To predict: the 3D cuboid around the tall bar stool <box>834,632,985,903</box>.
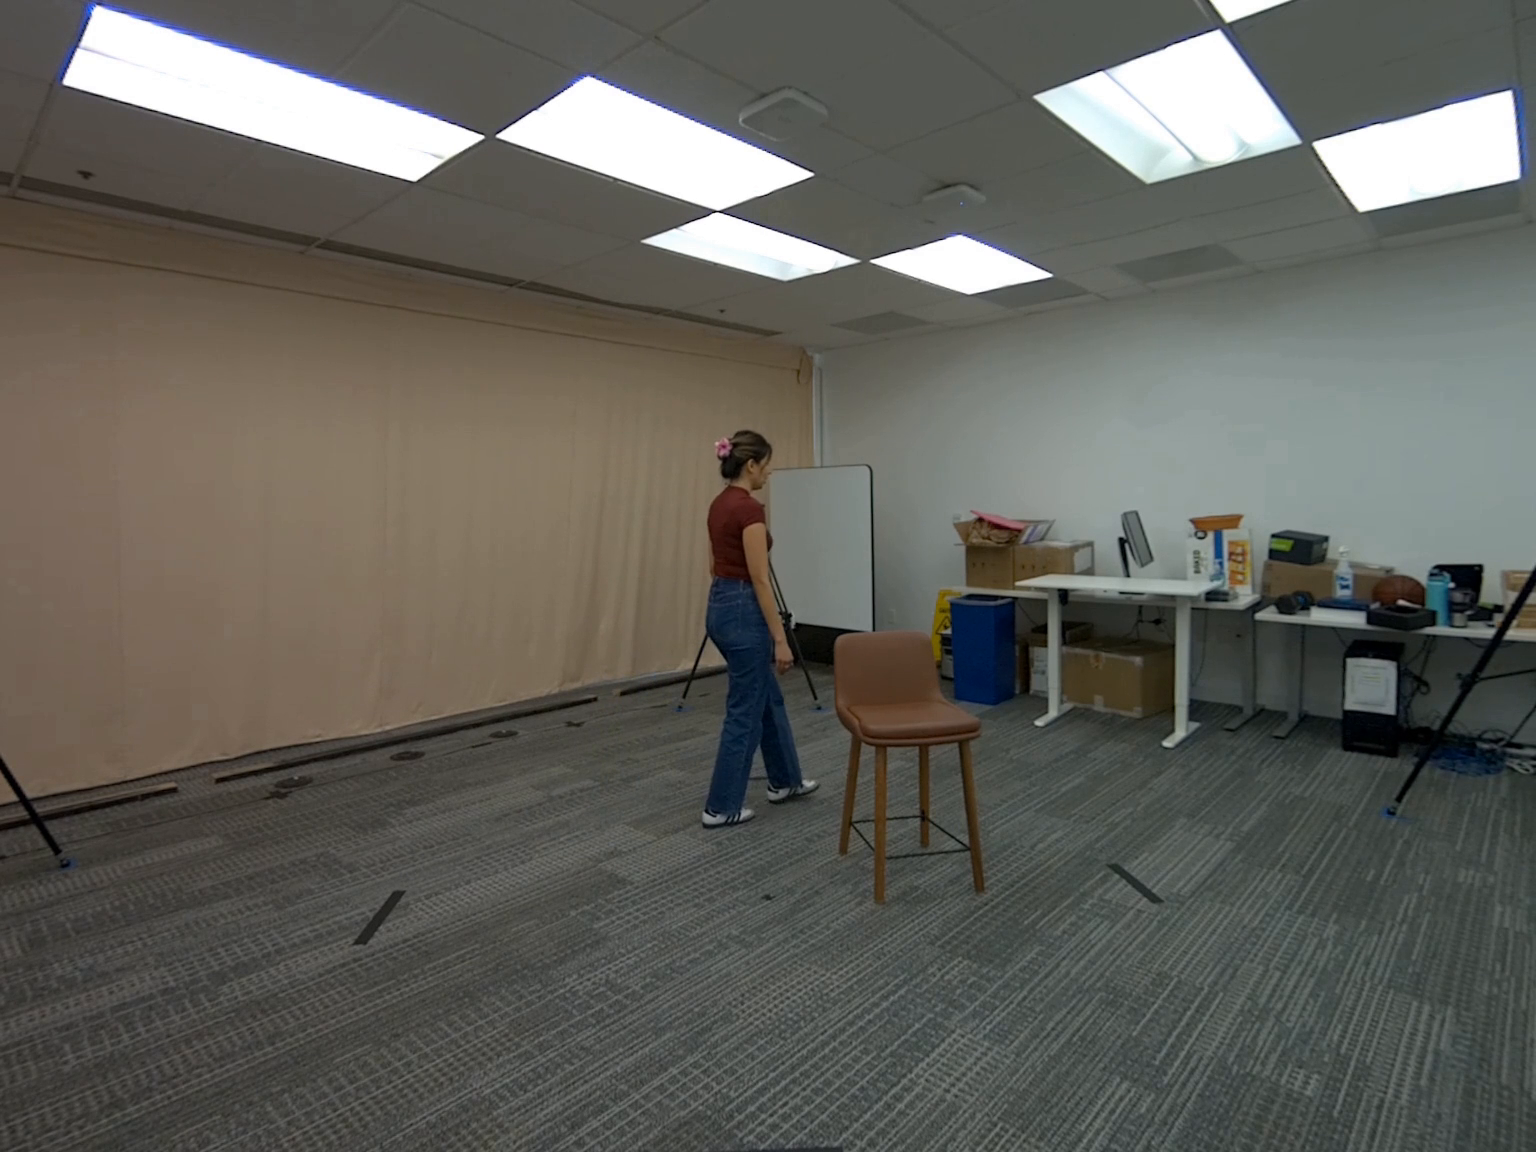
[{"bbox_3d":[0.521,0.683,3.156,0.450,0.889,0.474,-1,2,-14],"label":"tall bar stool"}]
